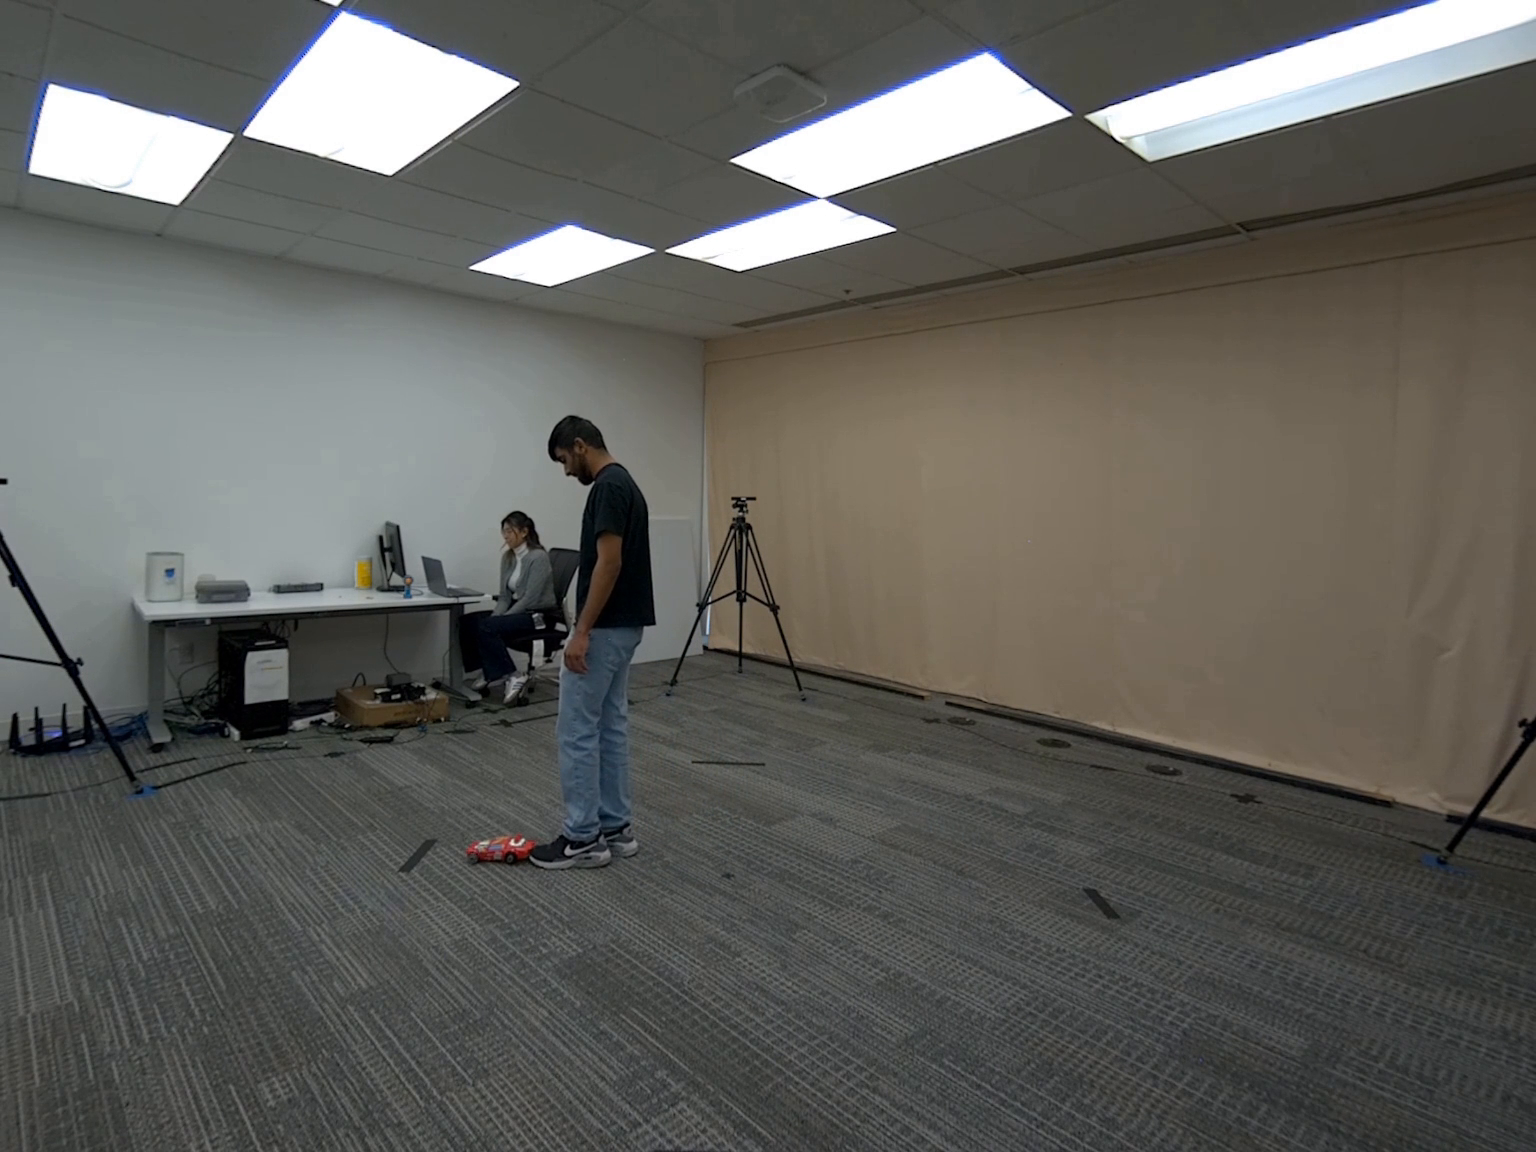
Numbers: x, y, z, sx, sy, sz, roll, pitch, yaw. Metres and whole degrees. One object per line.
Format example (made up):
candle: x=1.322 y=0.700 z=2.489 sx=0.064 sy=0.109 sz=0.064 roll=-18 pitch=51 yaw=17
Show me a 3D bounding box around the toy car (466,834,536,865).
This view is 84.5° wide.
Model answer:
toy car: x=-1.004 y=1.037 z=3.199 sx=0.256 sy=0.083 sz=0.130 roll=-12 pitch=4 yaw=6
